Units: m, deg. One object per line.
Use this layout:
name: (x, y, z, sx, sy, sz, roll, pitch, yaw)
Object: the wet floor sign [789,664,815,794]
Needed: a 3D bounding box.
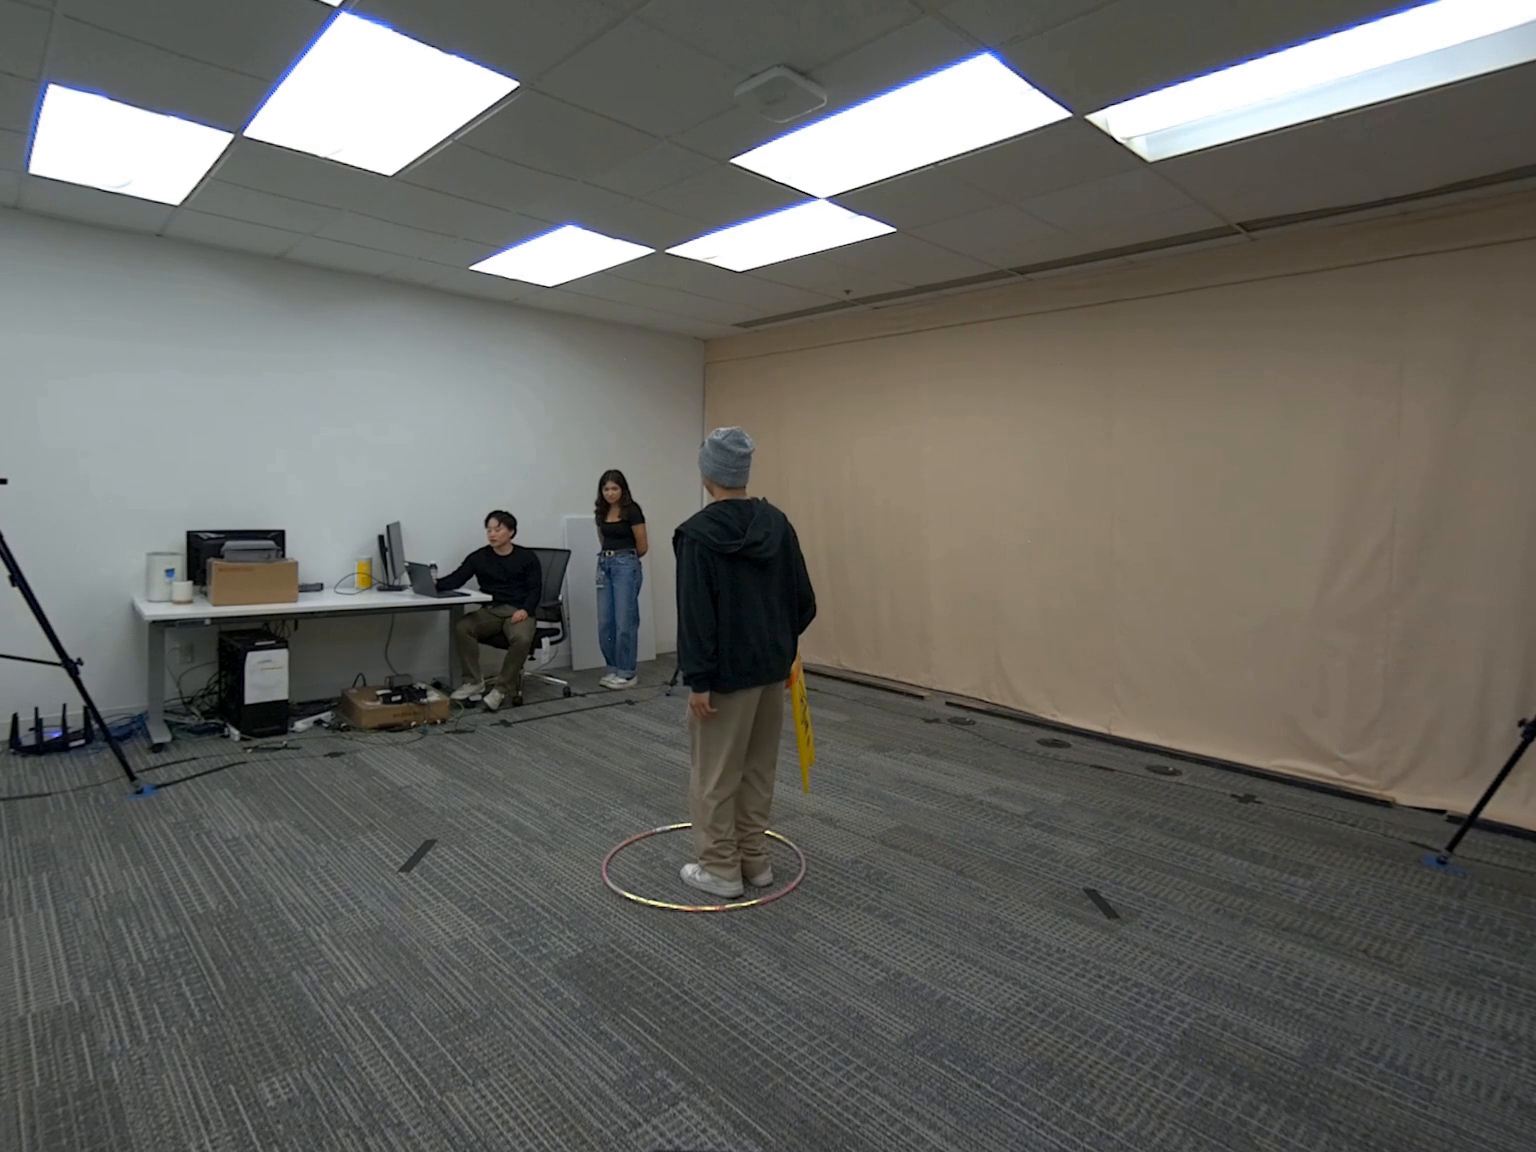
wet floor sign: (0.065, 0.528, 3.433, 0.292, 0.638, 0.284, 4, 19, 7)
